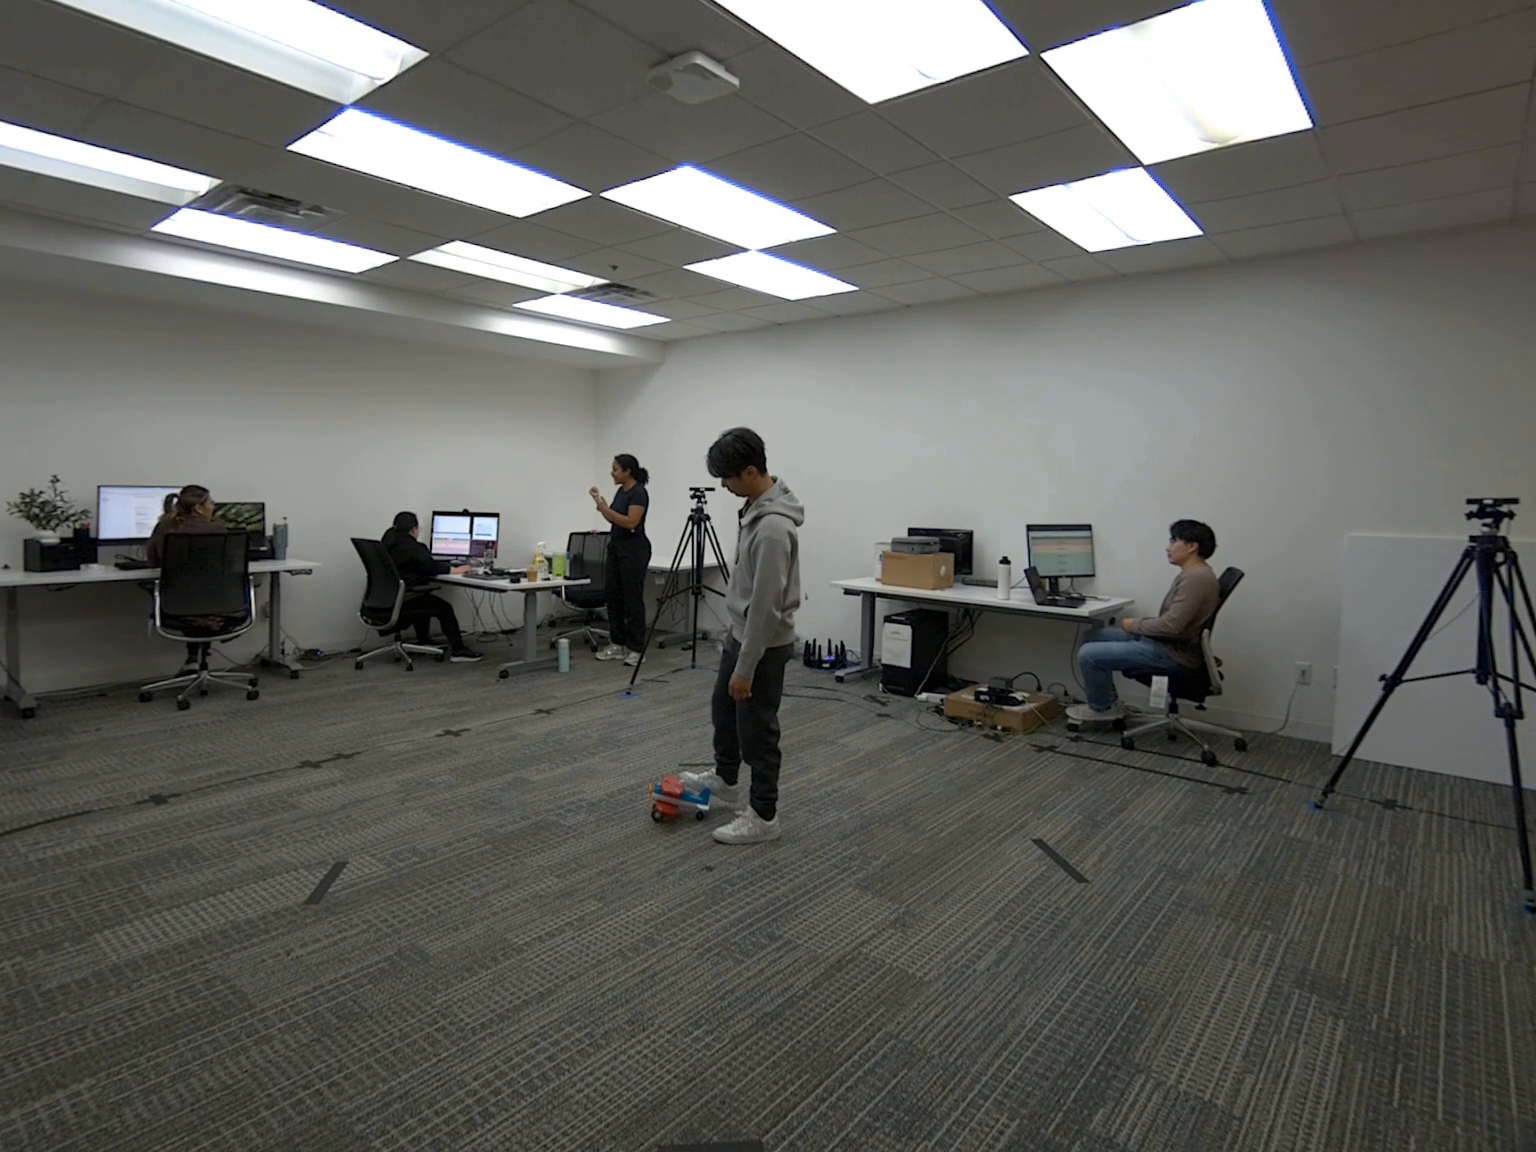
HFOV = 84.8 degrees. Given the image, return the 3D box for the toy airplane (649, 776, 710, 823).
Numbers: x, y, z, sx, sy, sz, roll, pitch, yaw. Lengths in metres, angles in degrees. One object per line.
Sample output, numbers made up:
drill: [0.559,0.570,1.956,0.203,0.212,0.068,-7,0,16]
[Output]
toy airplane: [-0.394,0.944,3.603,0.252,0.156,0.258,1,1,-31]
